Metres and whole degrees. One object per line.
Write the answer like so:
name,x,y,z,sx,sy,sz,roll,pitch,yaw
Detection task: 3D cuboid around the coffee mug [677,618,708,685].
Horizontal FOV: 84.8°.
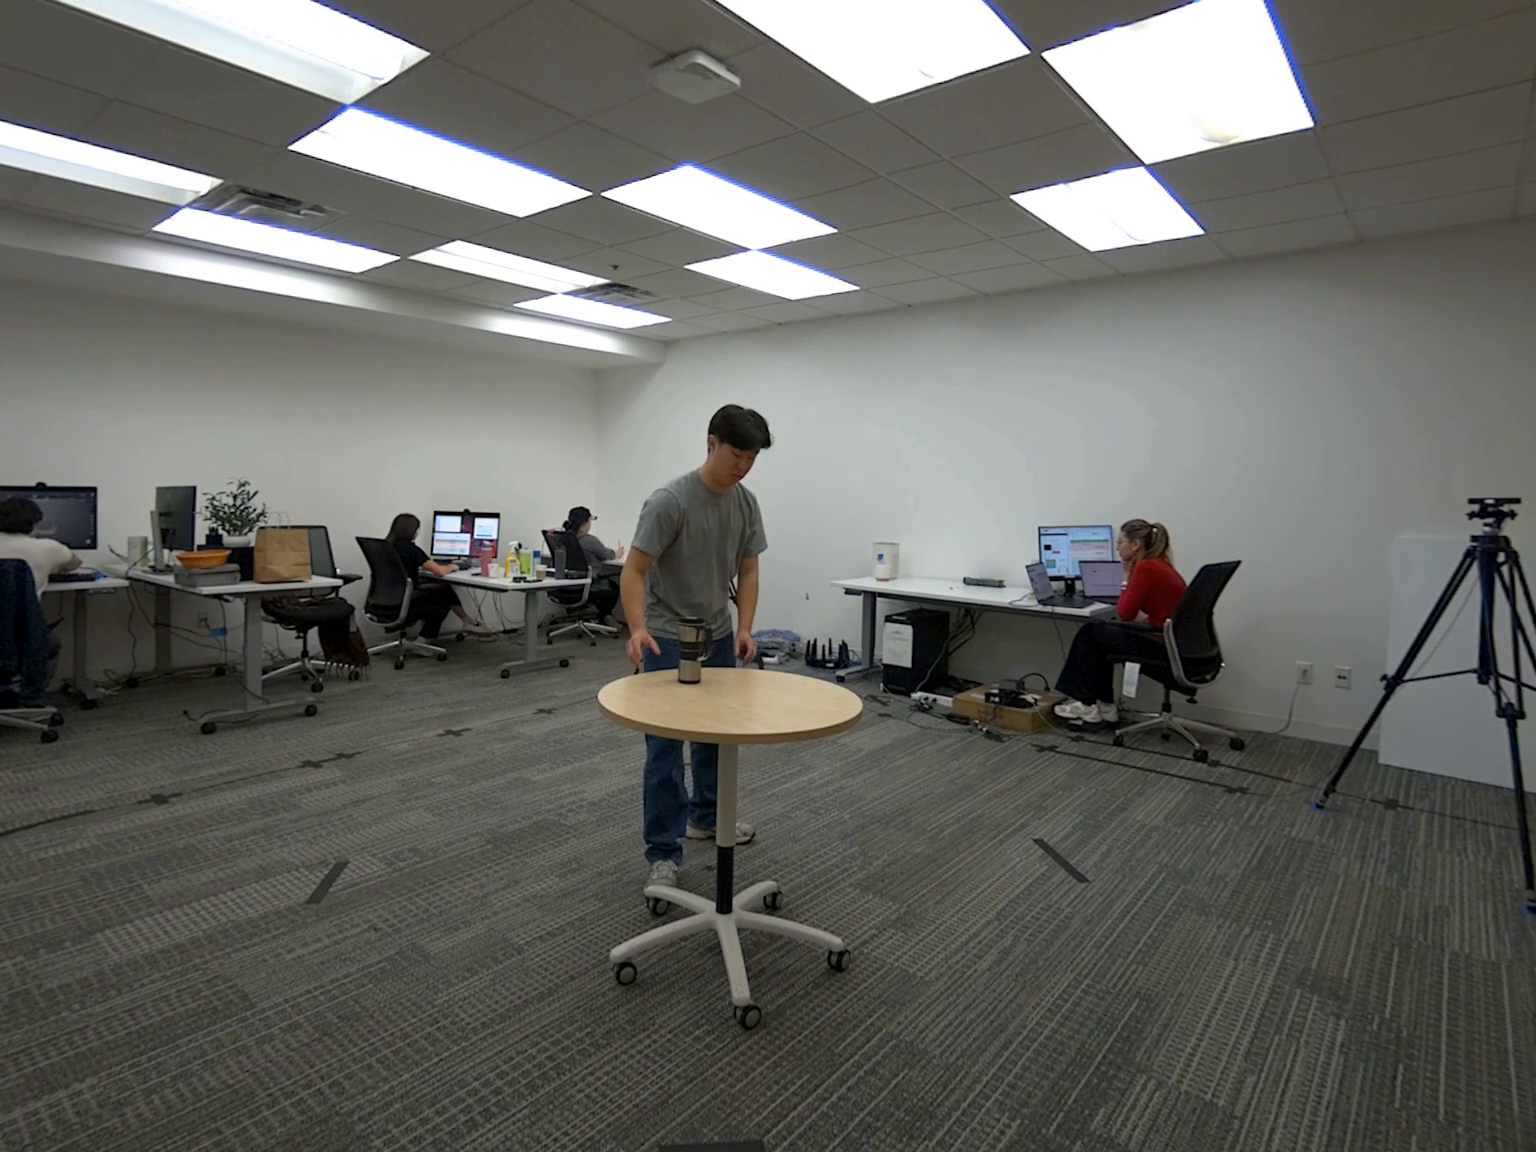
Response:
coffee mug,-0.244,0.230,2.616,0.086,0.203,0.124,3,1,-21
